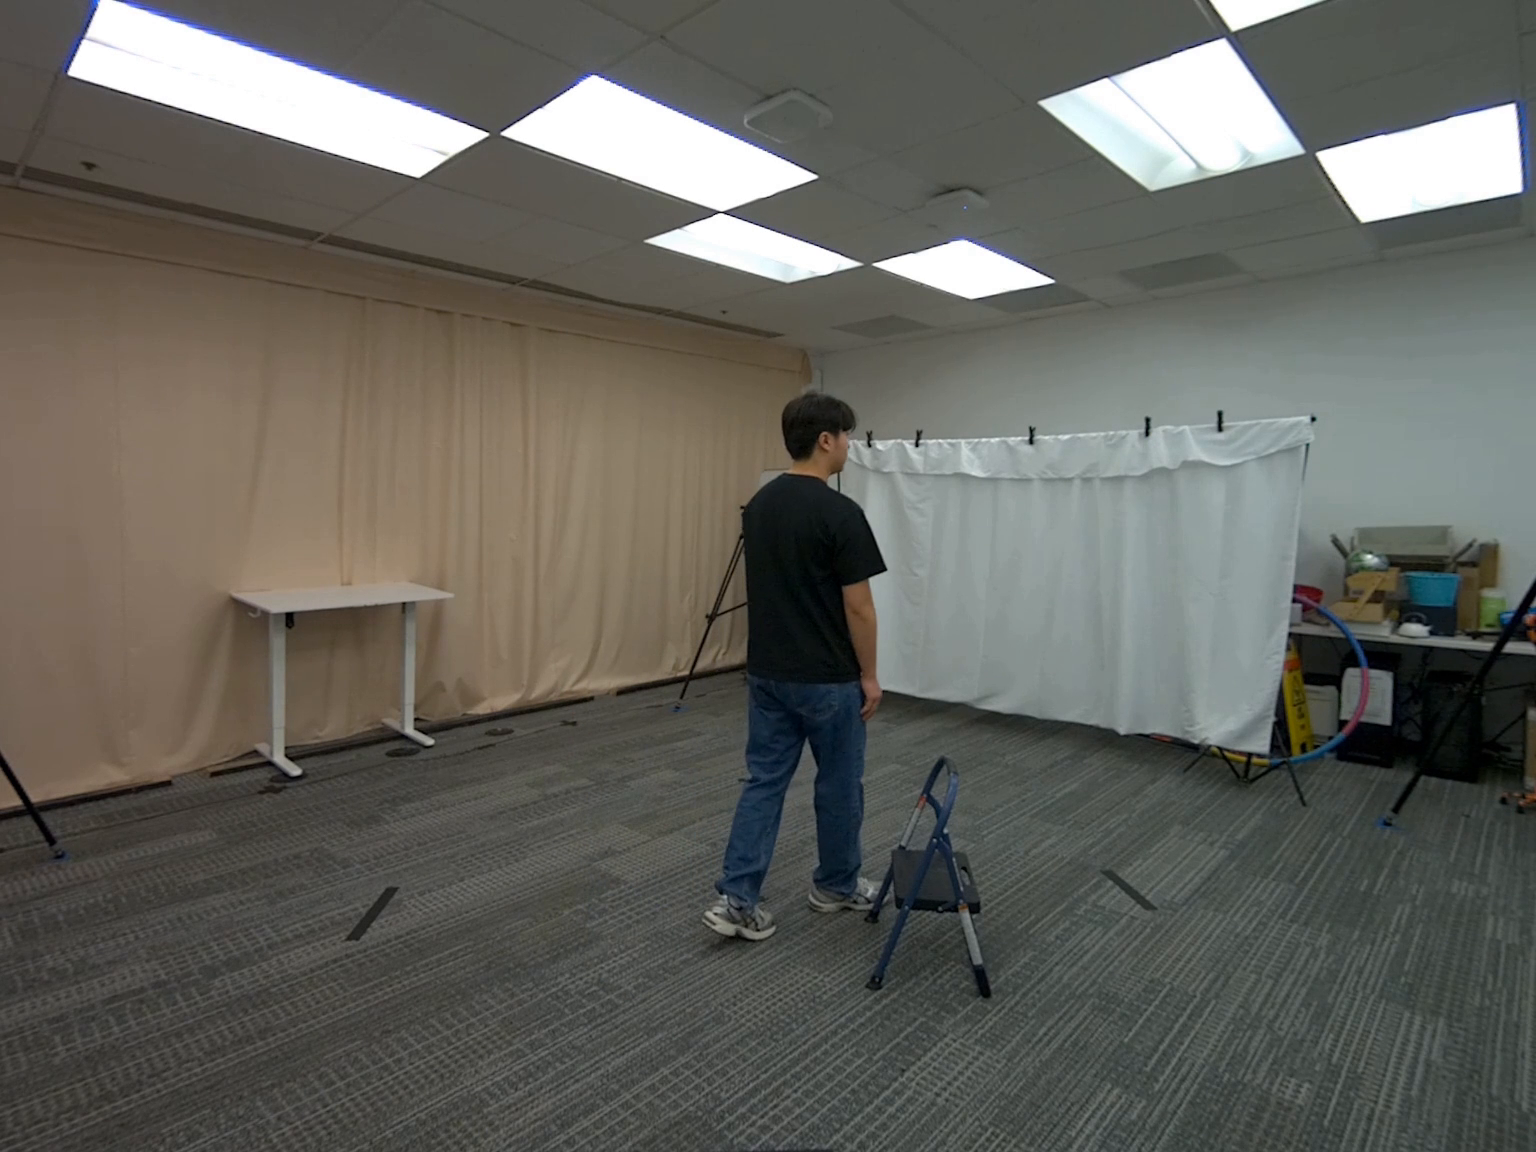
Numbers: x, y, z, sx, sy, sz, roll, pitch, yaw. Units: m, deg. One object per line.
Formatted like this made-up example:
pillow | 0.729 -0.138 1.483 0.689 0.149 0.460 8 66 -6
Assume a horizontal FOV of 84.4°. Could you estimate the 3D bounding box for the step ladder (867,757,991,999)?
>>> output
step ladder | 0.490 0.876 2.584 0.352 0.604 0.428 0 4 6
